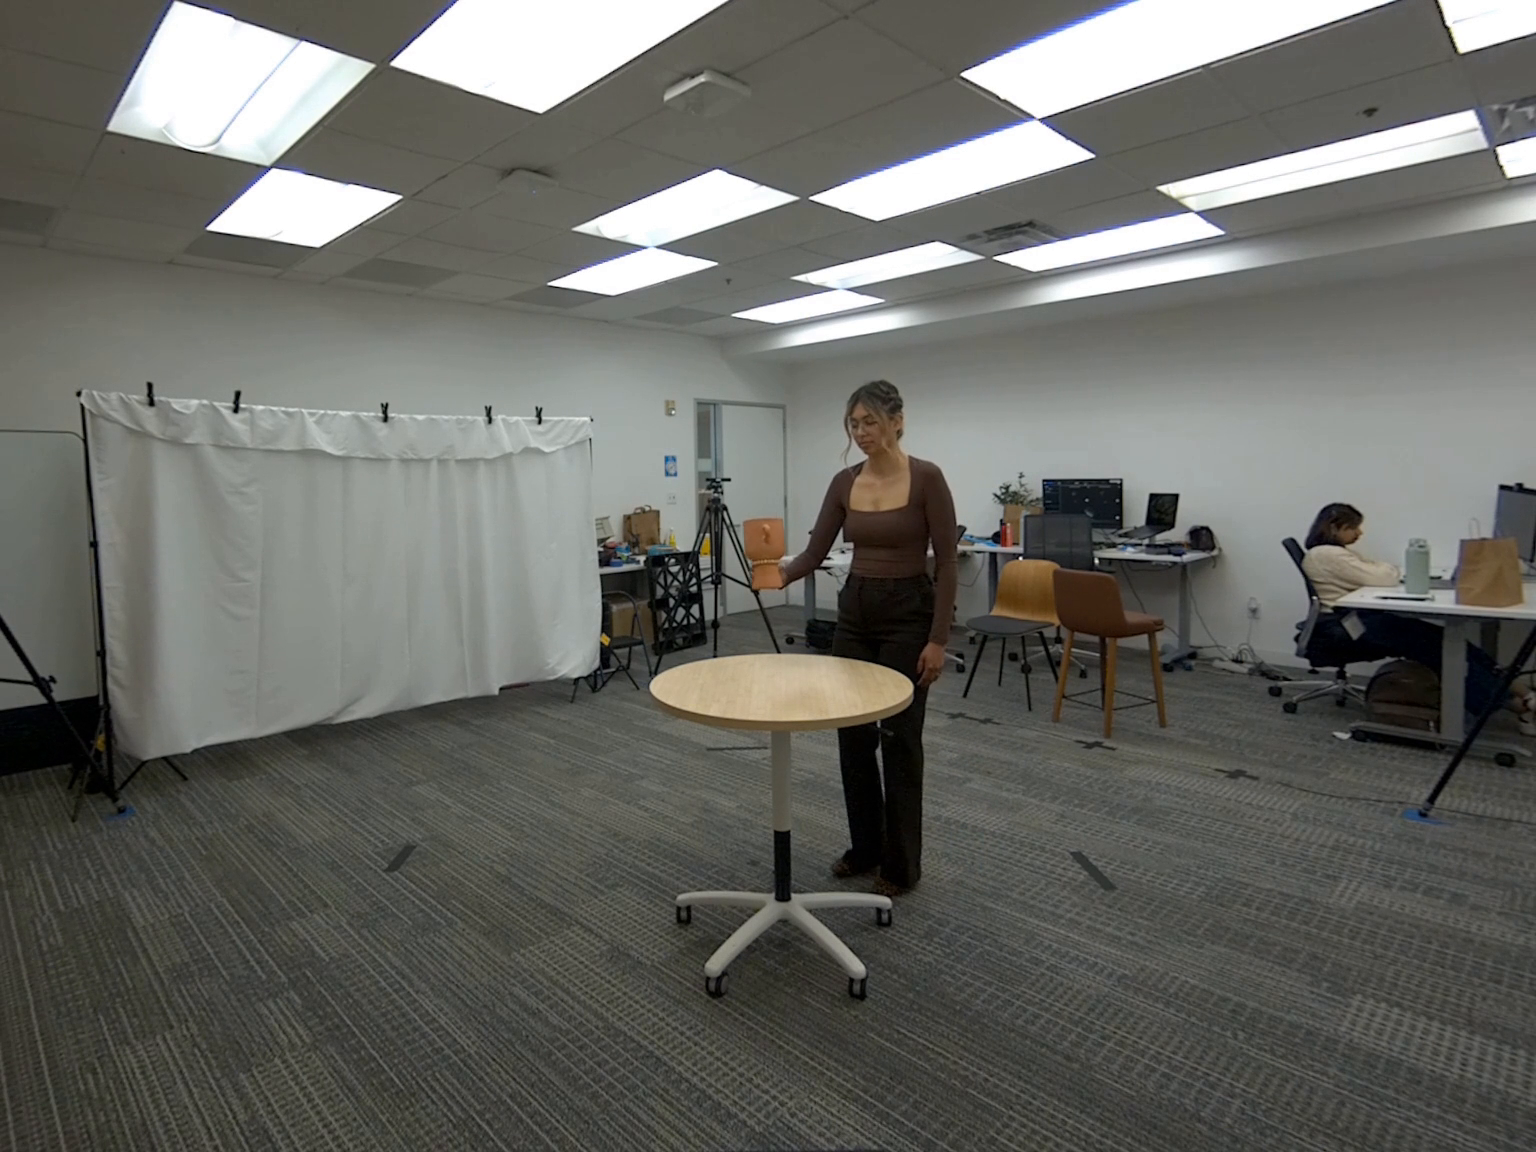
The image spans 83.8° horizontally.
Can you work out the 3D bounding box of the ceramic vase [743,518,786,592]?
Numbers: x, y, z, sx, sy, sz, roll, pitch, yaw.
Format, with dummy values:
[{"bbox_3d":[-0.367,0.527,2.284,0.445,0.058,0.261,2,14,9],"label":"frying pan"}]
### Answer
[{"bbox_3d":[-0.006,-0.070,2.754,0.138,0.221,0.154,-7,-5,33],"label":"ceramic vase"}]
